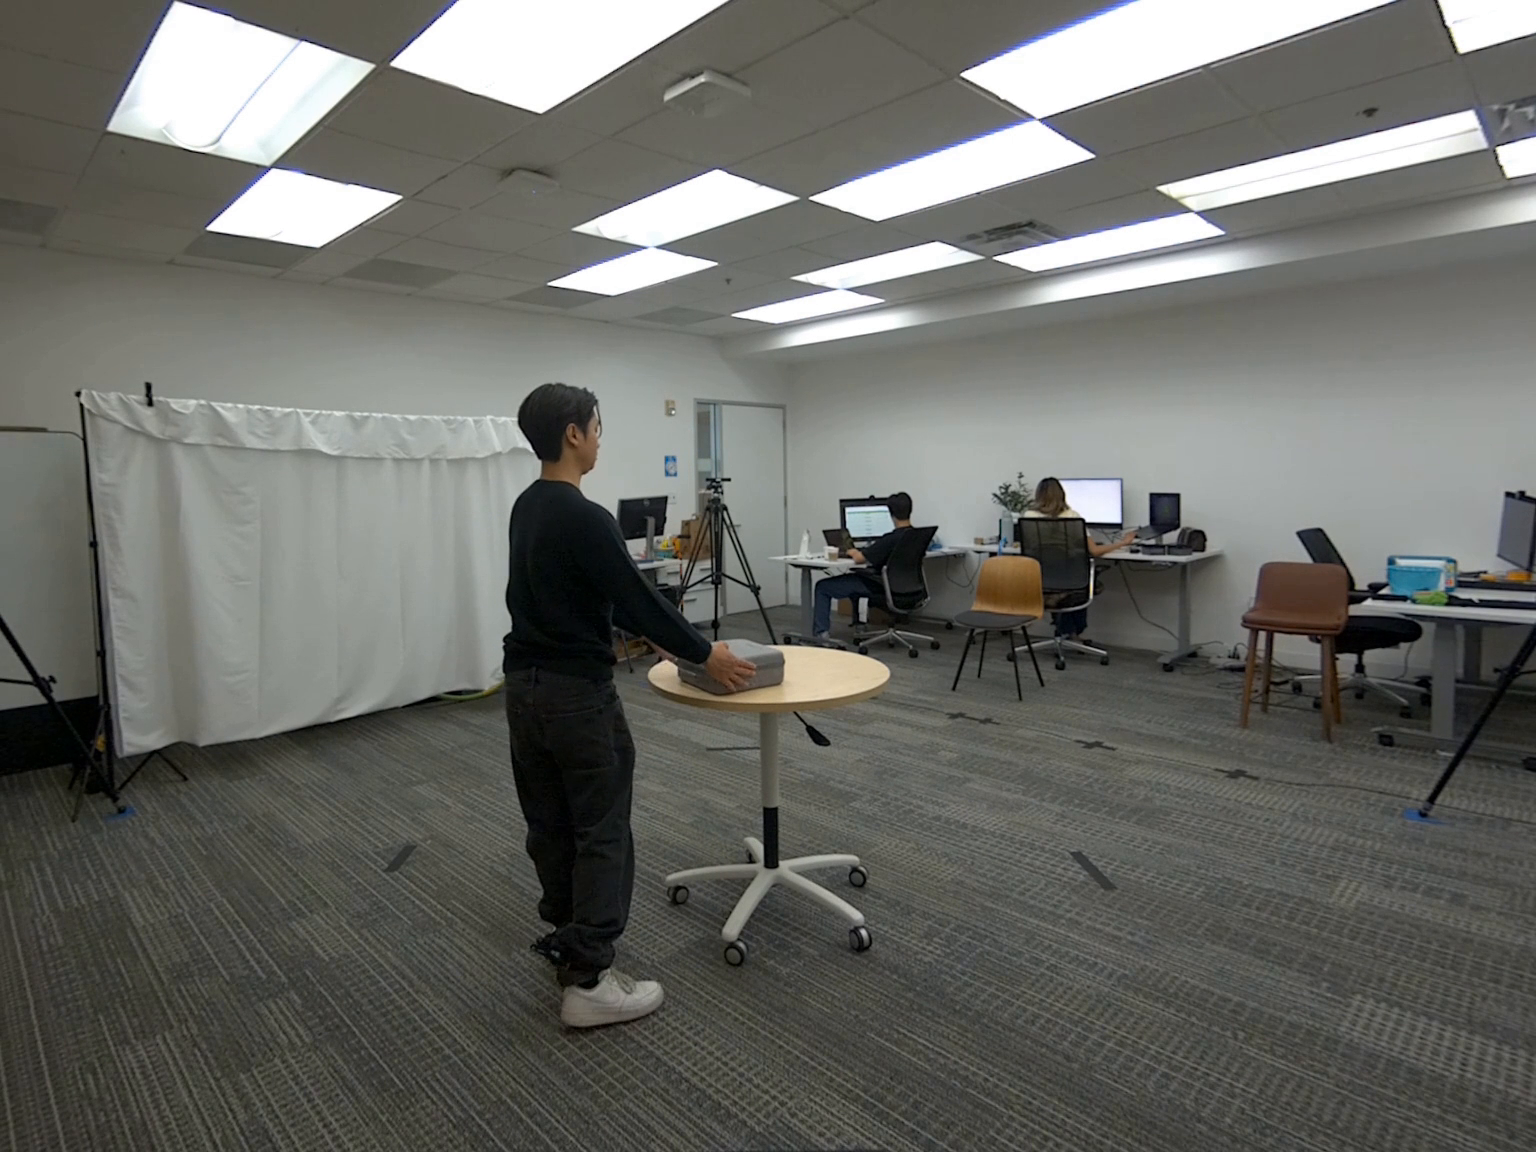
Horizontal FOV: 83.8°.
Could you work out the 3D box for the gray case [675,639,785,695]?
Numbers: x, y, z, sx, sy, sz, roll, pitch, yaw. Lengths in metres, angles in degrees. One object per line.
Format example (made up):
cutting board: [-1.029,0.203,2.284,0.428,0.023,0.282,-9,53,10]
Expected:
gray case: [-0.106,0.272,2.582,0.254,0.104,0.265,-6,9,-34]
